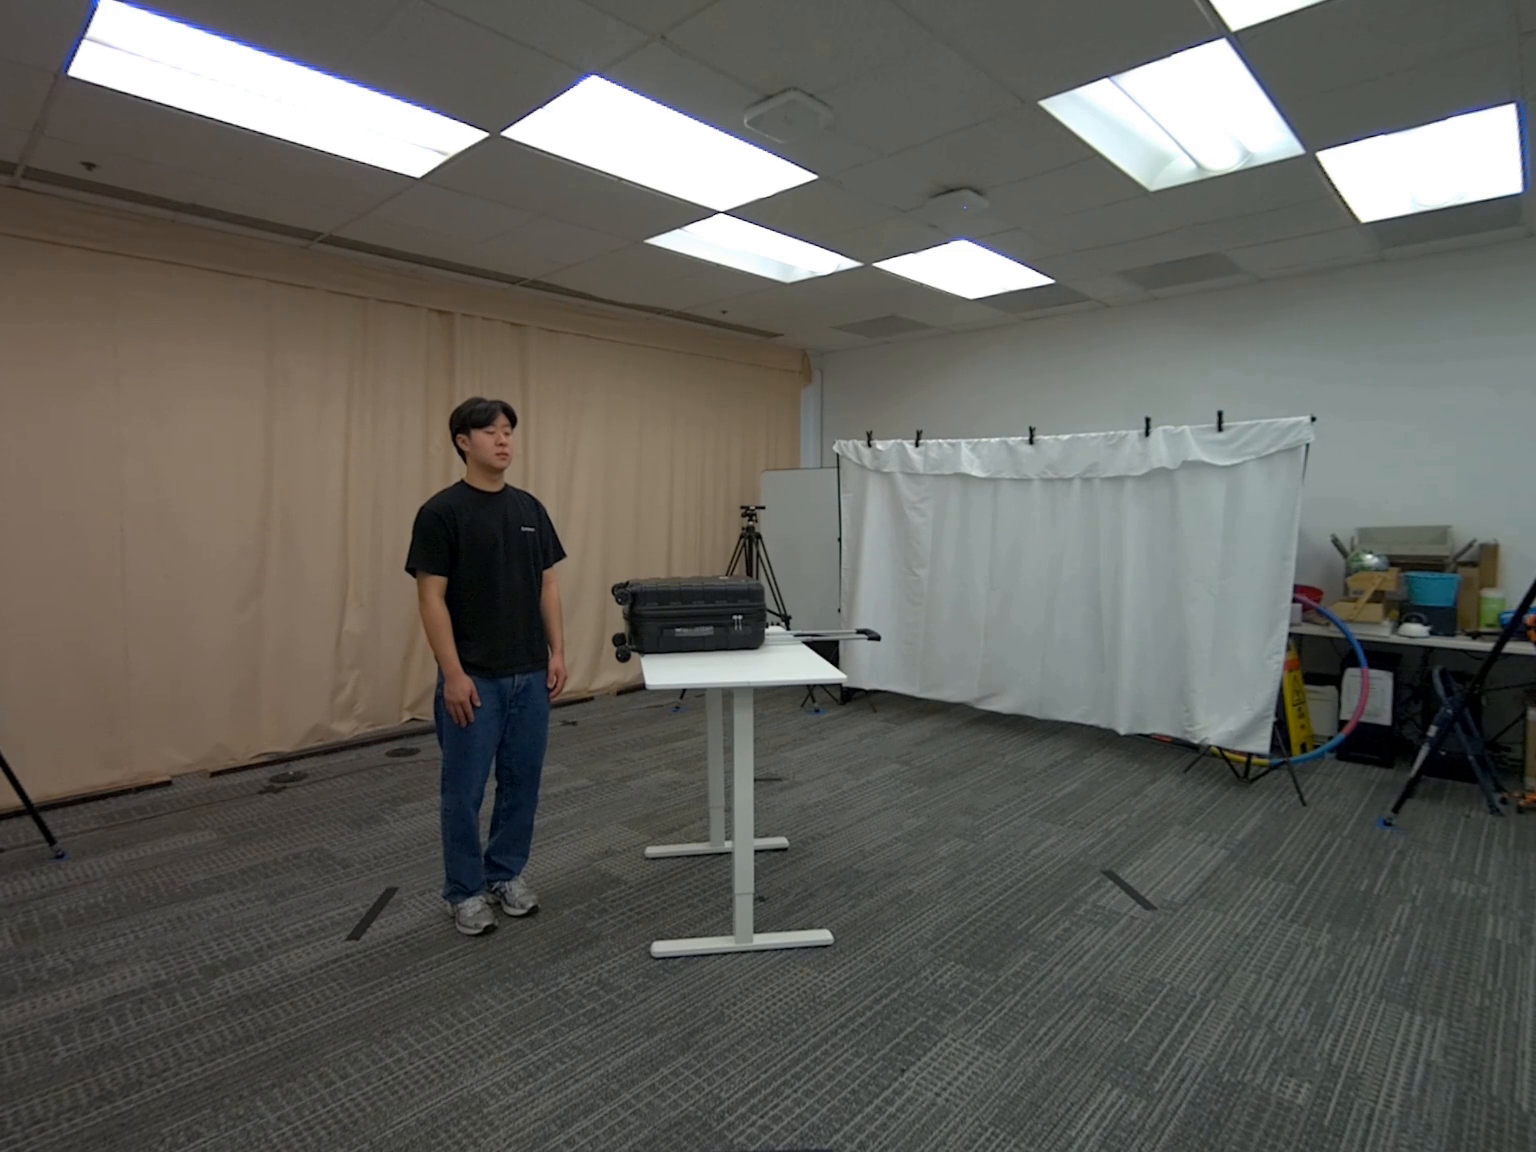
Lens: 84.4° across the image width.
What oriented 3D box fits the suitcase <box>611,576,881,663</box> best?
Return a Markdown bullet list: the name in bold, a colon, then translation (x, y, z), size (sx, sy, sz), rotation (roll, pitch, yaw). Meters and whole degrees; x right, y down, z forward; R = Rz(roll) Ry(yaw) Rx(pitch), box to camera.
- **suitcase**: translation (-0.085, 0.125, 3.109), size (0.968, 0.256, 0.389), rotation (-4, 4, -10)
